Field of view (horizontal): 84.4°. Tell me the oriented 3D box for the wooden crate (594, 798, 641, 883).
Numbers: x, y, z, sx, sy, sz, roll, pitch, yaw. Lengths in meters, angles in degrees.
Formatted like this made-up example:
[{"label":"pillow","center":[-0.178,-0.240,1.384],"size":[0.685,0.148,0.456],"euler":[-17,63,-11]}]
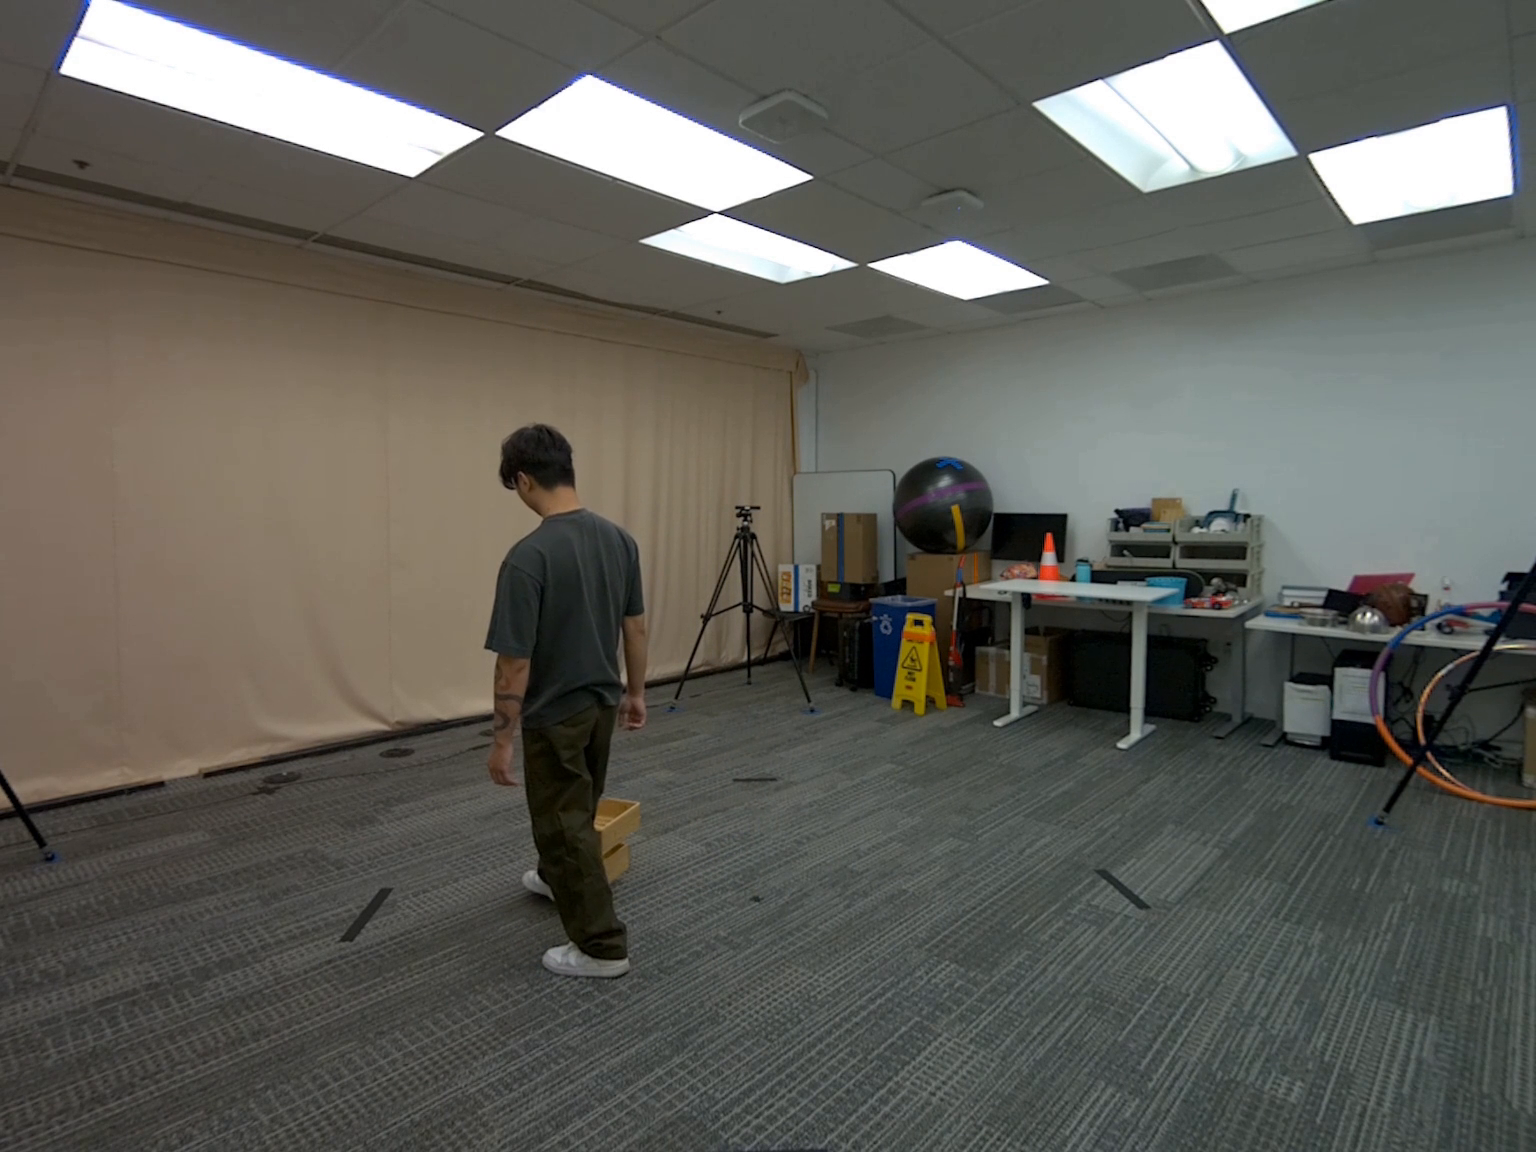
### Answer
[{"label":"wooden crate","center":[-0.680,1.002,3.145],"size":[0.309,0.273,0.318],"euler":[2,4,21]}]
